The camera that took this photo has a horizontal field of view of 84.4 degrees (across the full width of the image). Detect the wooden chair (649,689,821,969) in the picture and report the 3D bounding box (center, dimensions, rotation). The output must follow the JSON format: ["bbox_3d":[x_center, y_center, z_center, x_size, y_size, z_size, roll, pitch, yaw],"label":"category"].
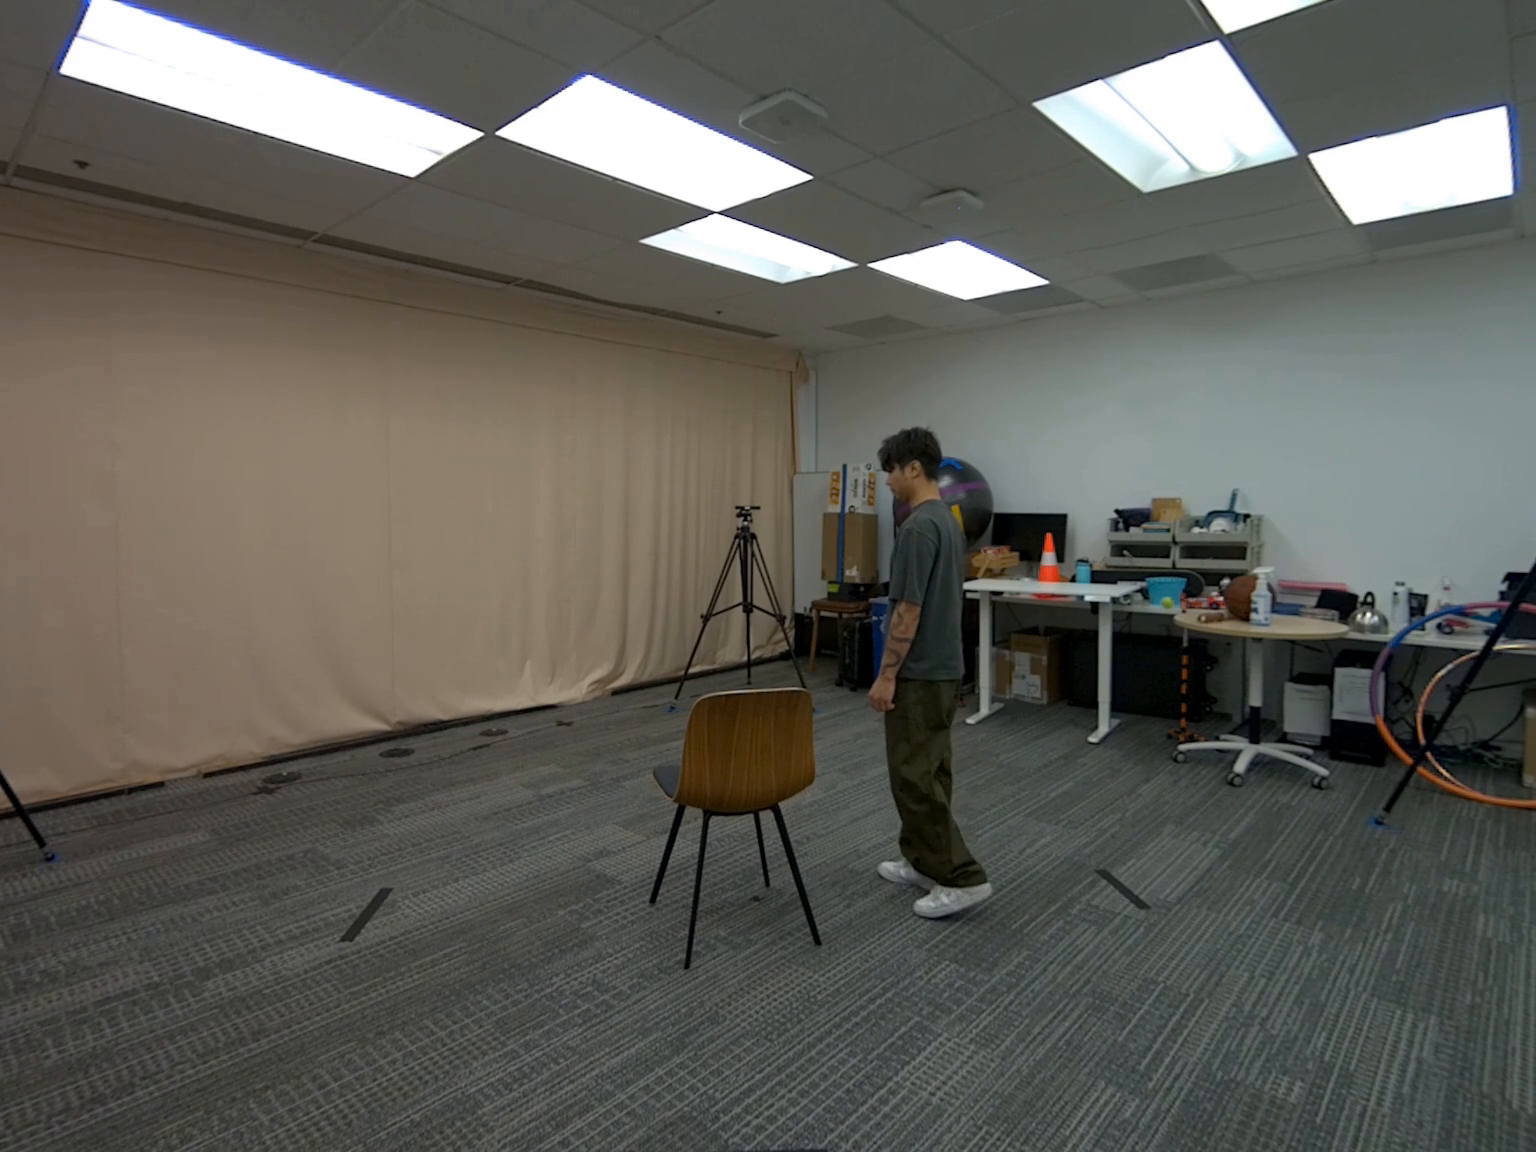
[{"bbox_3d":[-0.122,0.733,2.786,0.469,0.873,0.536,-1,7,-20],"label":"wooden chair"}]
